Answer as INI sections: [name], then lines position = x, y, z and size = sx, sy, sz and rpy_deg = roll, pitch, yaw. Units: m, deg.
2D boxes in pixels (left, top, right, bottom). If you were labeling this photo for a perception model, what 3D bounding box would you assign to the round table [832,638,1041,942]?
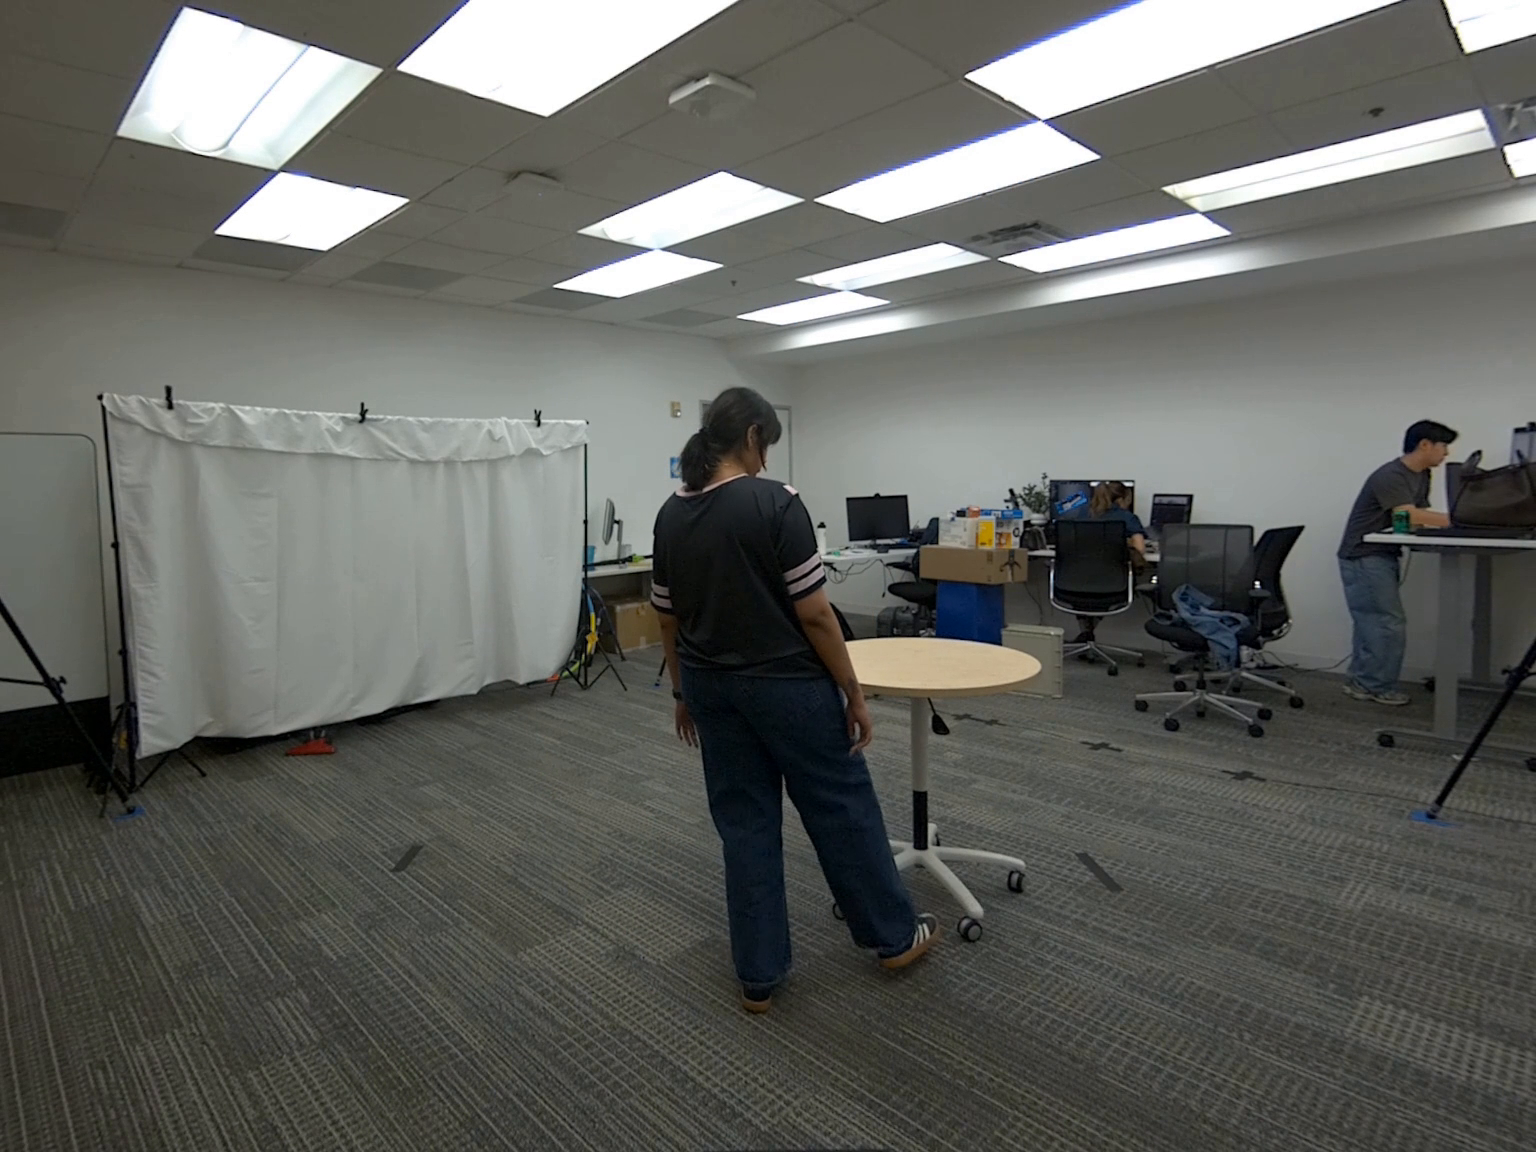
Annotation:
[round table]
position = 0.515, 0.675, 2.878
size = 0.763, 0.791, 0.768
rpy_deg = -1, 5, -2
